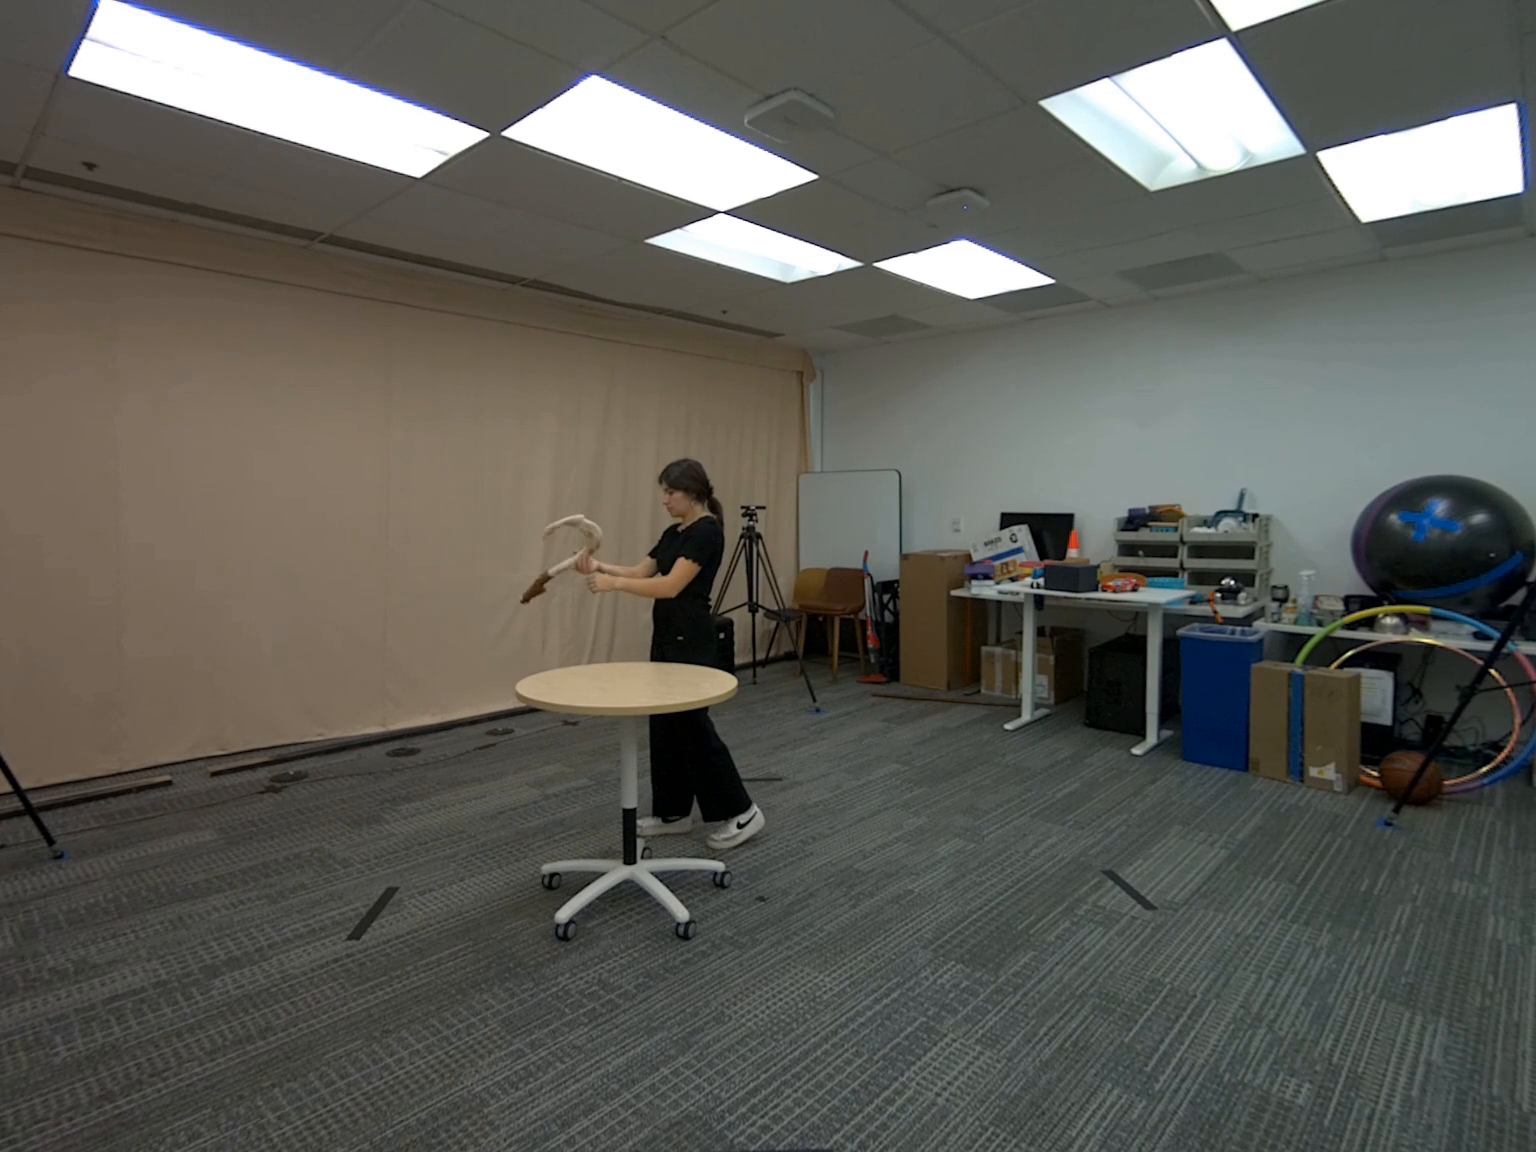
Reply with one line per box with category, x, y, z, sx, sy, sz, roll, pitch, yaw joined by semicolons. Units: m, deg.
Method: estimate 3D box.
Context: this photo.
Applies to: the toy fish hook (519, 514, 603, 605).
toy fish hook;-0.879;-0.062;3.410;0.511;0.218;0.049;-38;29;20
